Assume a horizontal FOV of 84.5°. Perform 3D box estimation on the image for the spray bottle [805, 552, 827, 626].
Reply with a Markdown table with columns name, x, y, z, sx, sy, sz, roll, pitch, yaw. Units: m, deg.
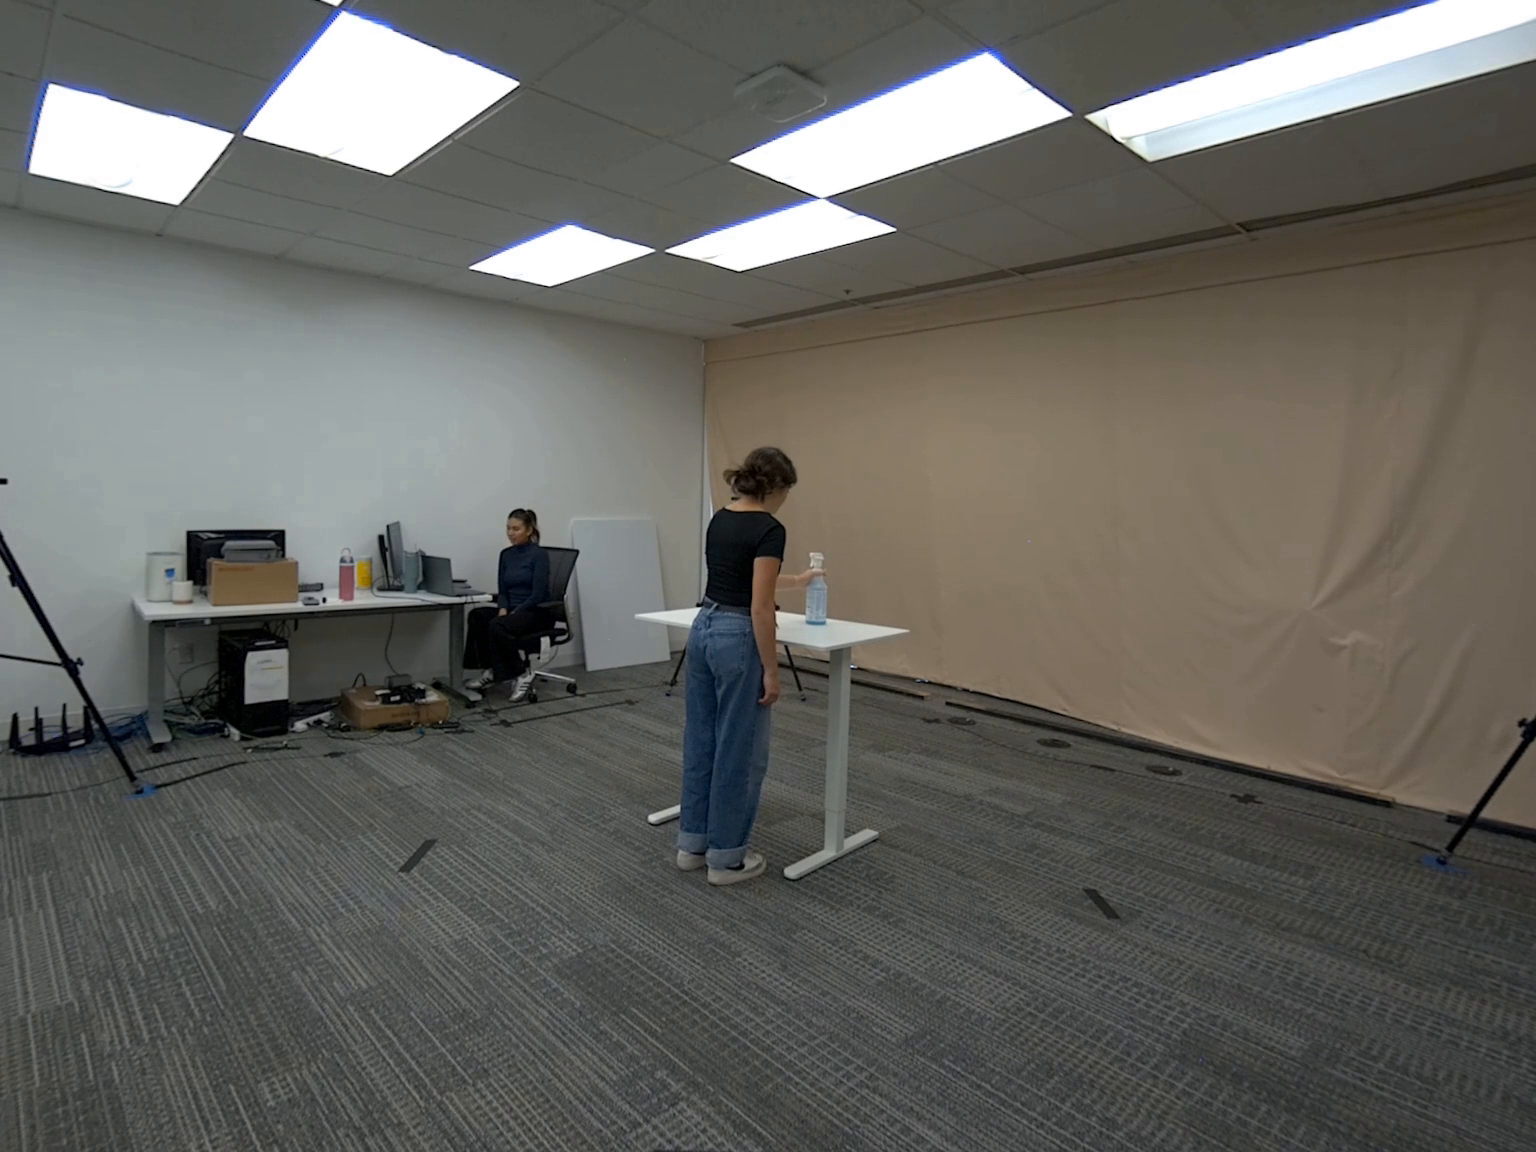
| name | x | y | z | sx | sy | sz | roll | pitch | yaw |
| --- | --- | --- | --- | --- | --- | --- | --- | --- | --- |
| spray bottle | 0.198 | 0.053 | 3.497 | 0.088 | 0.296 | 0.089 | -1 | 4 | -25 |
